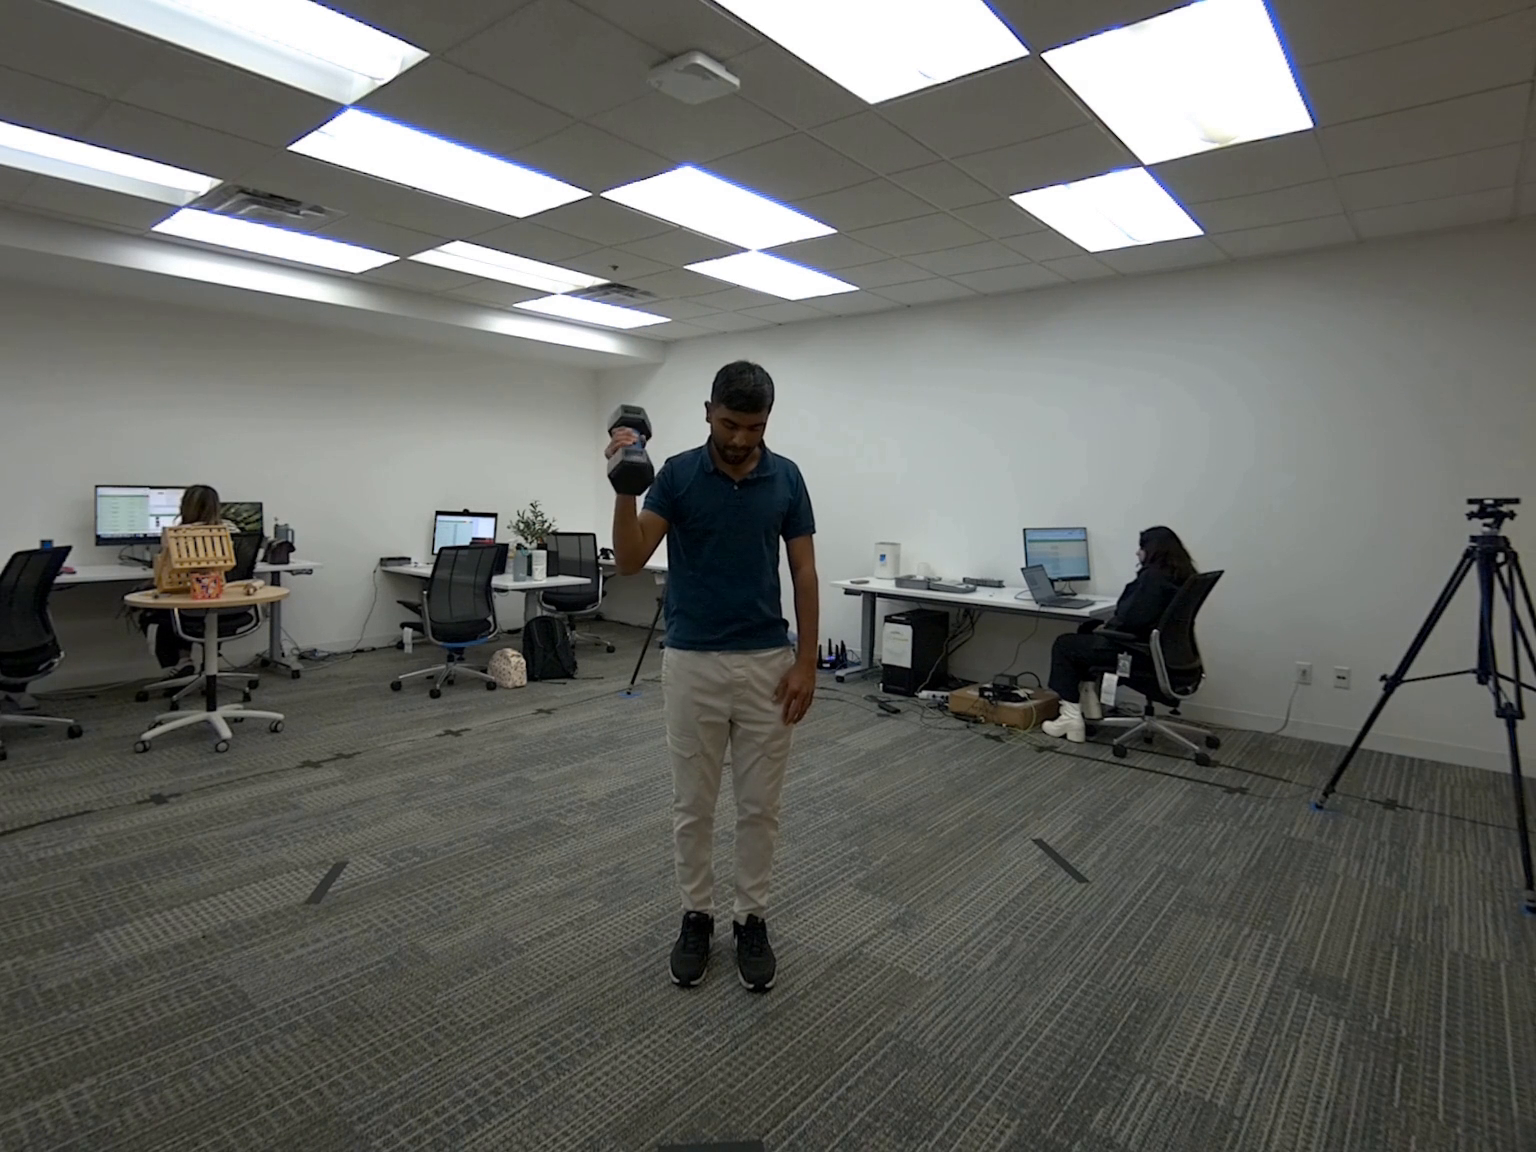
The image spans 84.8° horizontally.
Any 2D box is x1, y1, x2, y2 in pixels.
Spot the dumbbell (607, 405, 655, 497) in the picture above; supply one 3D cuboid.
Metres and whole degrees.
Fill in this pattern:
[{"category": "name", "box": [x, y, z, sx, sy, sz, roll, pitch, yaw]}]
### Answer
[{"category": "dumbbell", "box": [-0.370, -0.329, 2.253, 0.121, 0.106, 0.304, 3, 39, -15]}]
